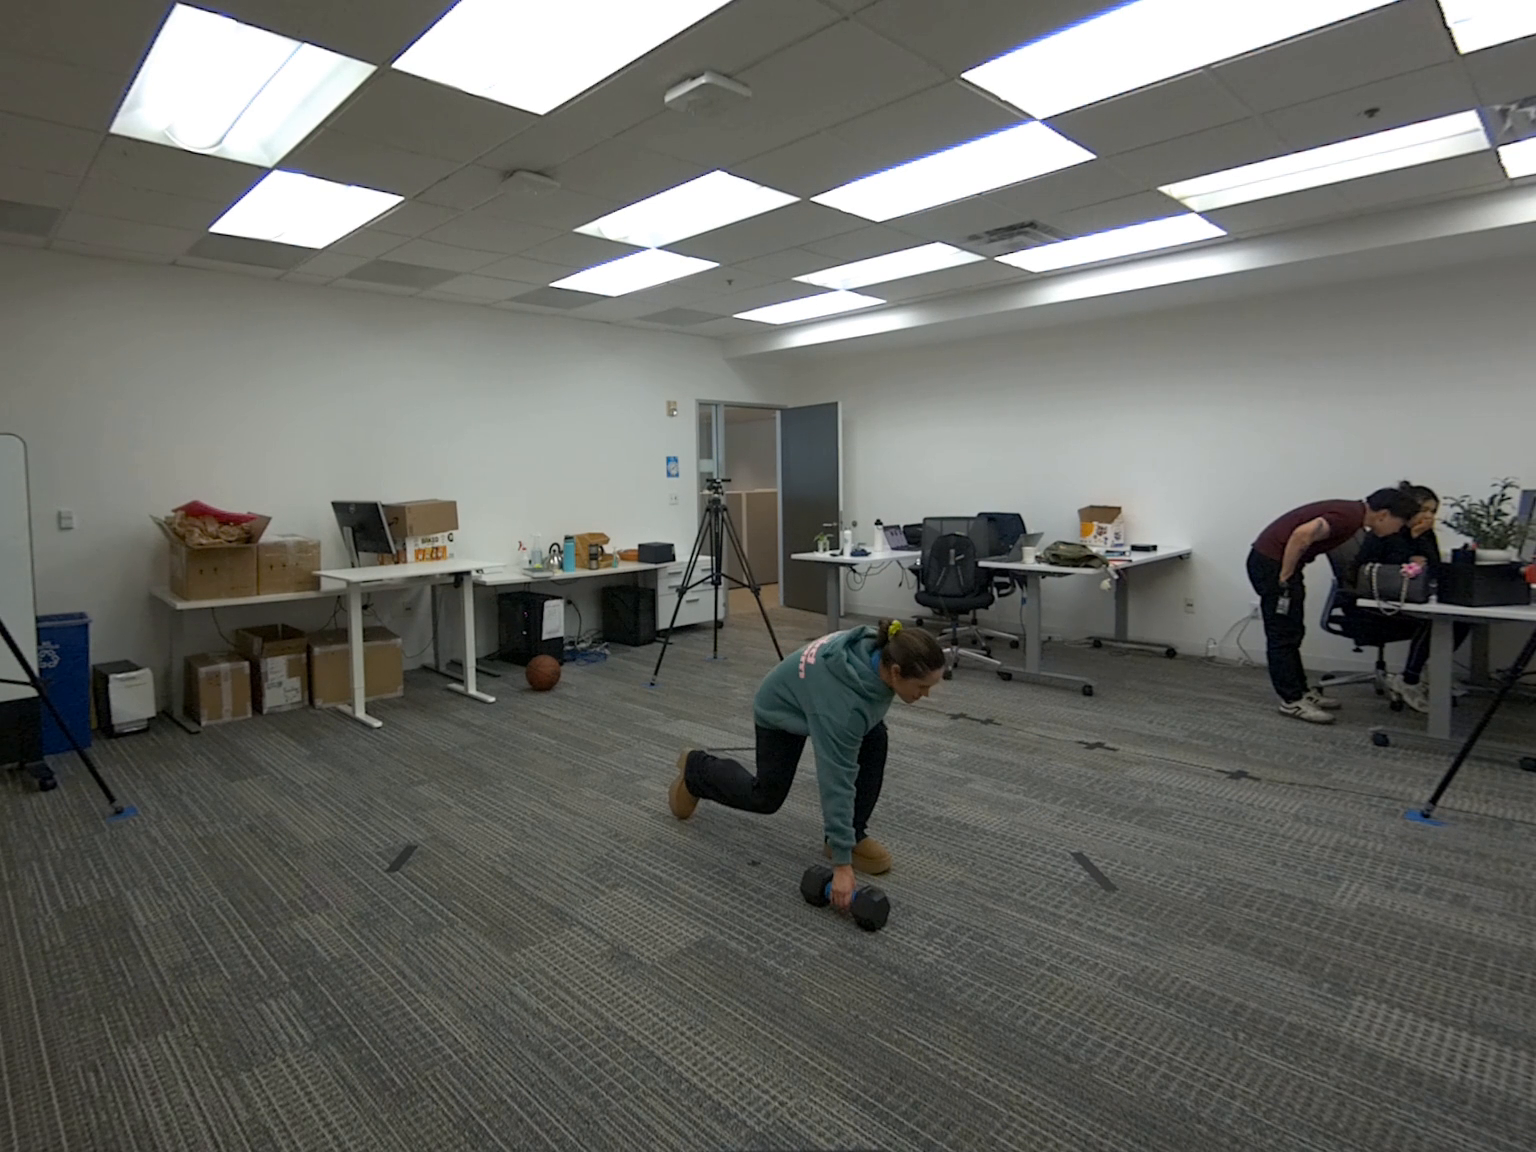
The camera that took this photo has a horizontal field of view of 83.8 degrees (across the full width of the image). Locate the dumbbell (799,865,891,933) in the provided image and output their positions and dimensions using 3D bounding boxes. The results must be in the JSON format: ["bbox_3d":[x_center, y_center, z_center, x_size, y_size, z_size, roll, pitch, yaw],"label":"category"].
[{"bbox_3d":[0.243,1.032,2.731,0.303,0.119,0.108,7,41,48],"label":"dumbbell"}]
